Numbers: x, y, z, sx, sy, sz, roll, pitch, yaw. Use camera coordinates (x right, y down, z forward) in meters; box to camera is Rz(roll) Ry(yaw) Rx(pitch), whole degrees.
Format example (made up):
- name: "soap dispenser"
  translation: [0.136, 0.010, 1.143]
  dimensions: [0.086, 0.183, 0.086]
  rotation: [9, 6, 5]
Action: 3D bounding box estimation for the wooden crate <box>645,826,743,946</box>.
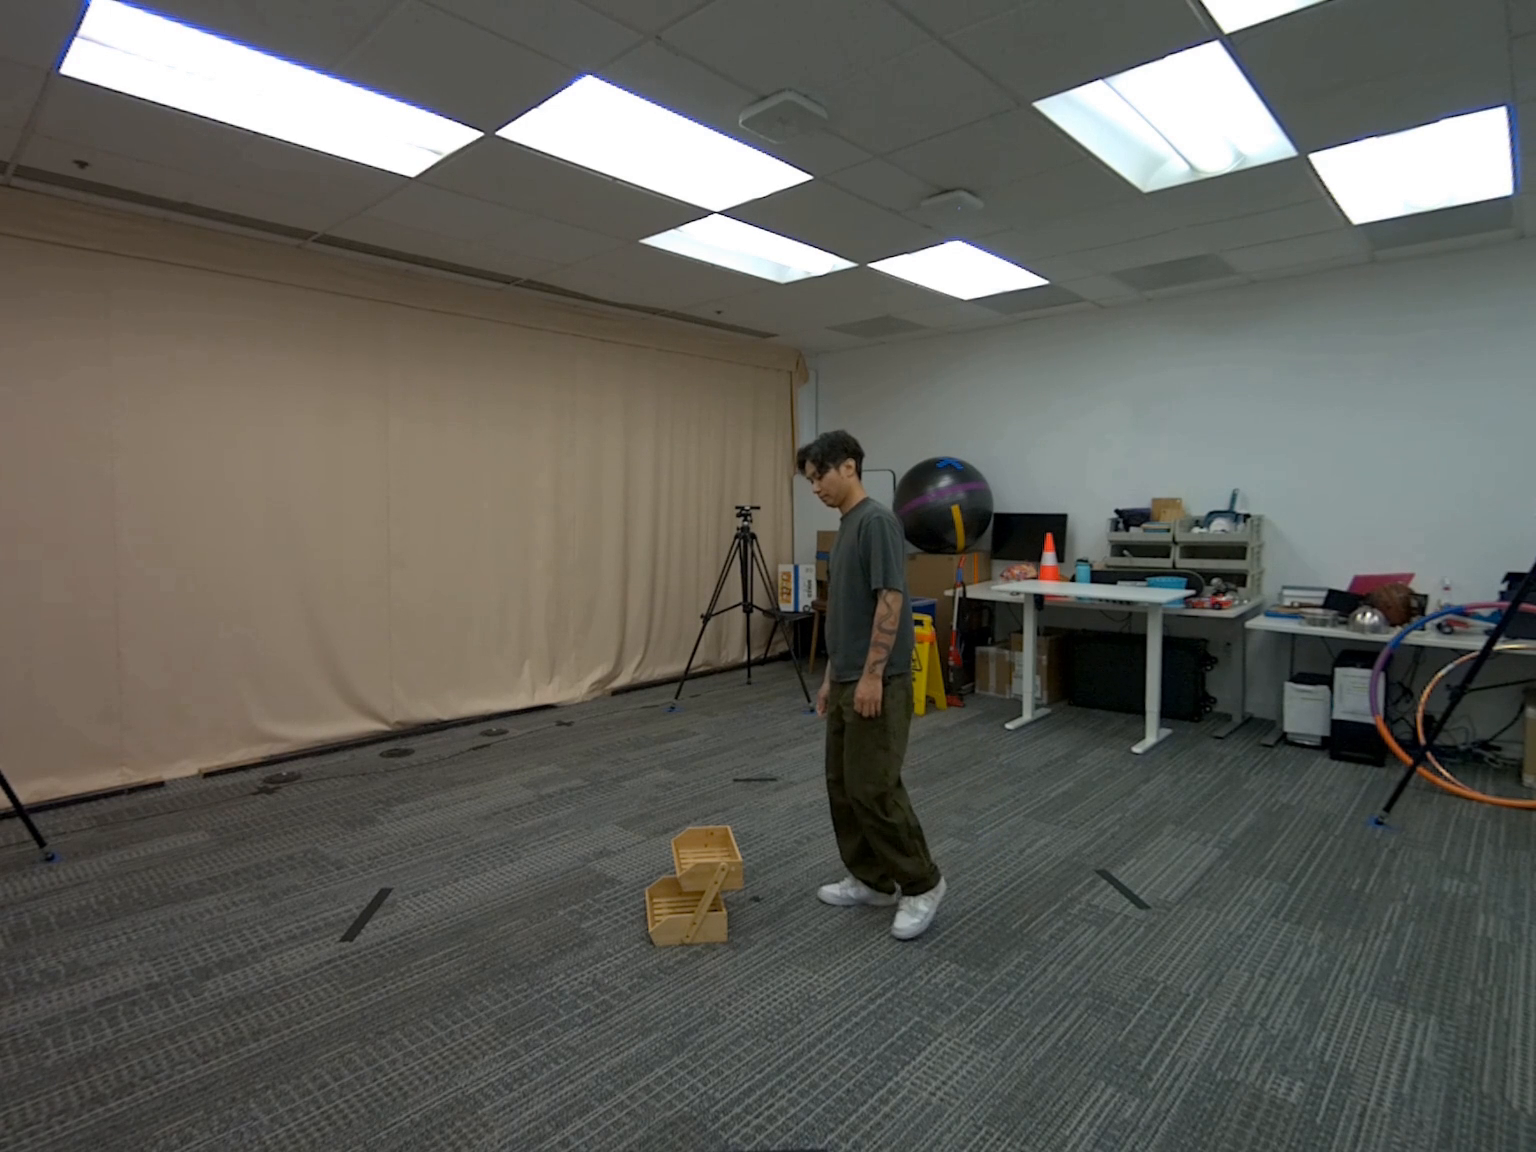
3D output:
- name: "wooden crate"
  translation: [-0.259, 1.026, 2.828]
  dimensions: [0.299, 0.273, 0.328]
  rotation: [-1, 4, -10]
